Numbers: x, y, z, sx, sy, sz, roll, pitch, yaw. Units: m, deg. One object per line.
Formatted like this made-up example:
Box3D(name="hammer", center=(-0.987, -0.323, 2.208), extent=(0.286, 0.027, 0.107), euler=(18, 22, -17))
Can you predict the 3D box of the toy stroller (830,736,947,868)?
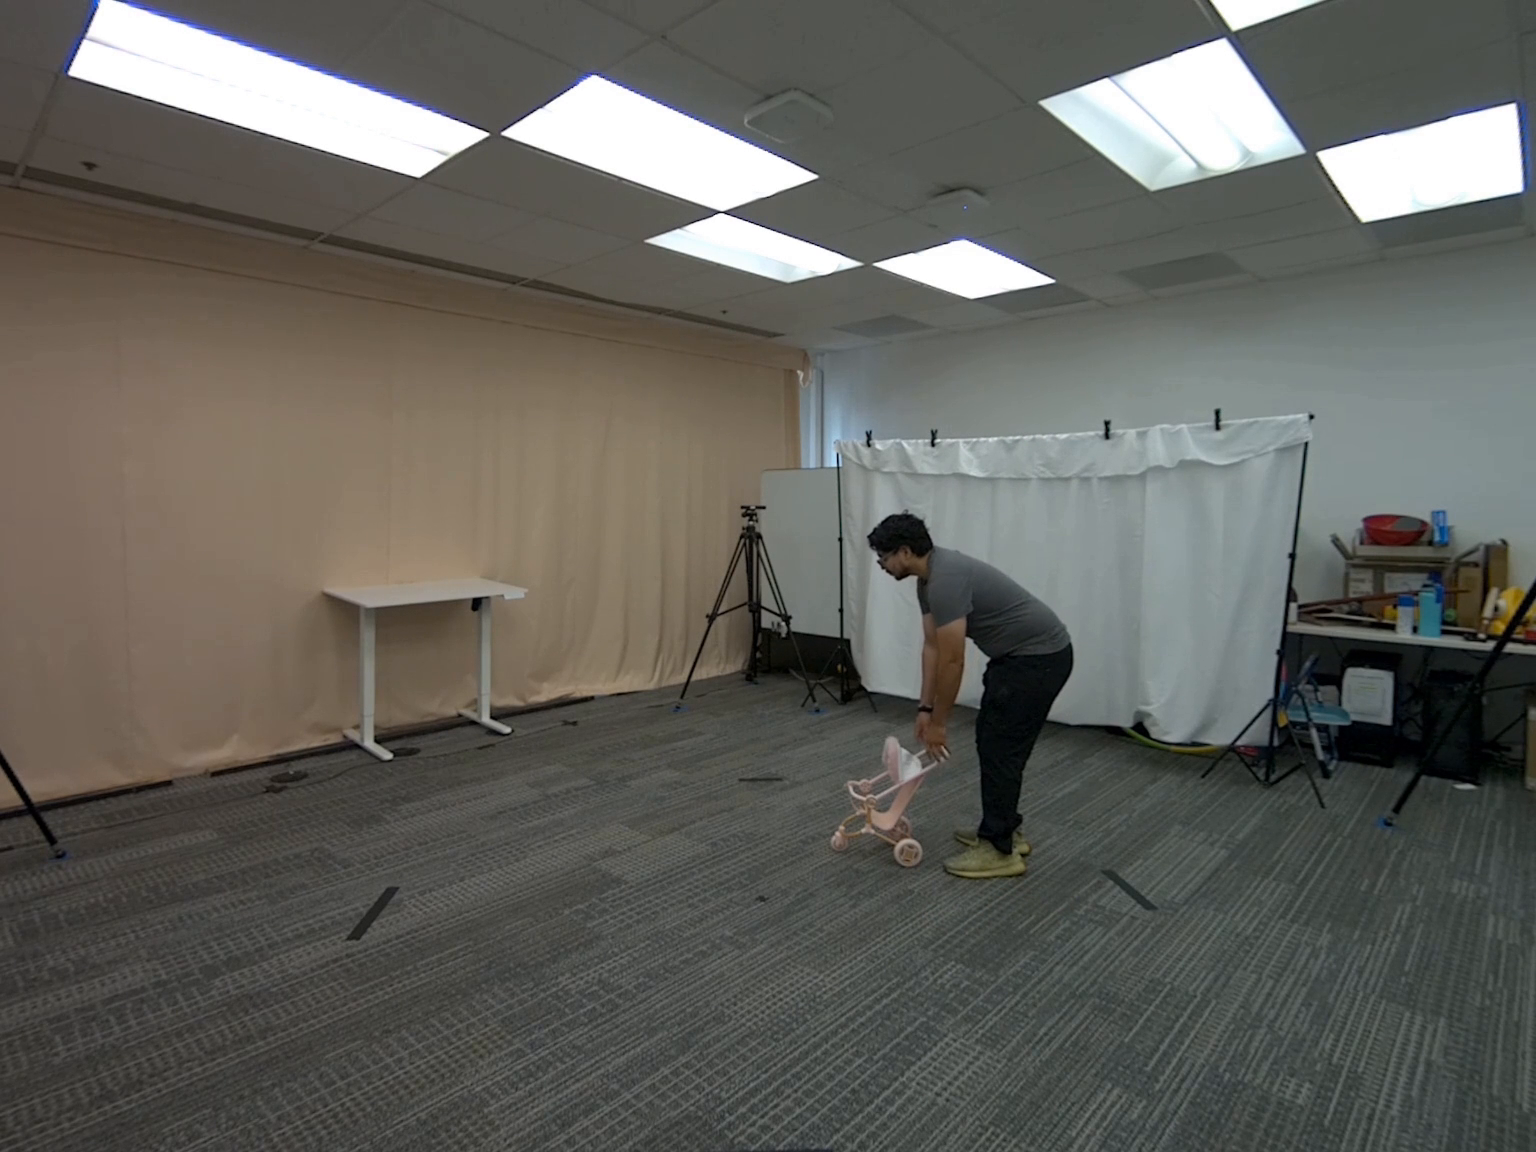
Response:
Box3D(name="toy stroller", center=(0.469, 0.893, 3.365), extent=(0.344, 0.534, 0.280), euler=(16, 5, 5))
